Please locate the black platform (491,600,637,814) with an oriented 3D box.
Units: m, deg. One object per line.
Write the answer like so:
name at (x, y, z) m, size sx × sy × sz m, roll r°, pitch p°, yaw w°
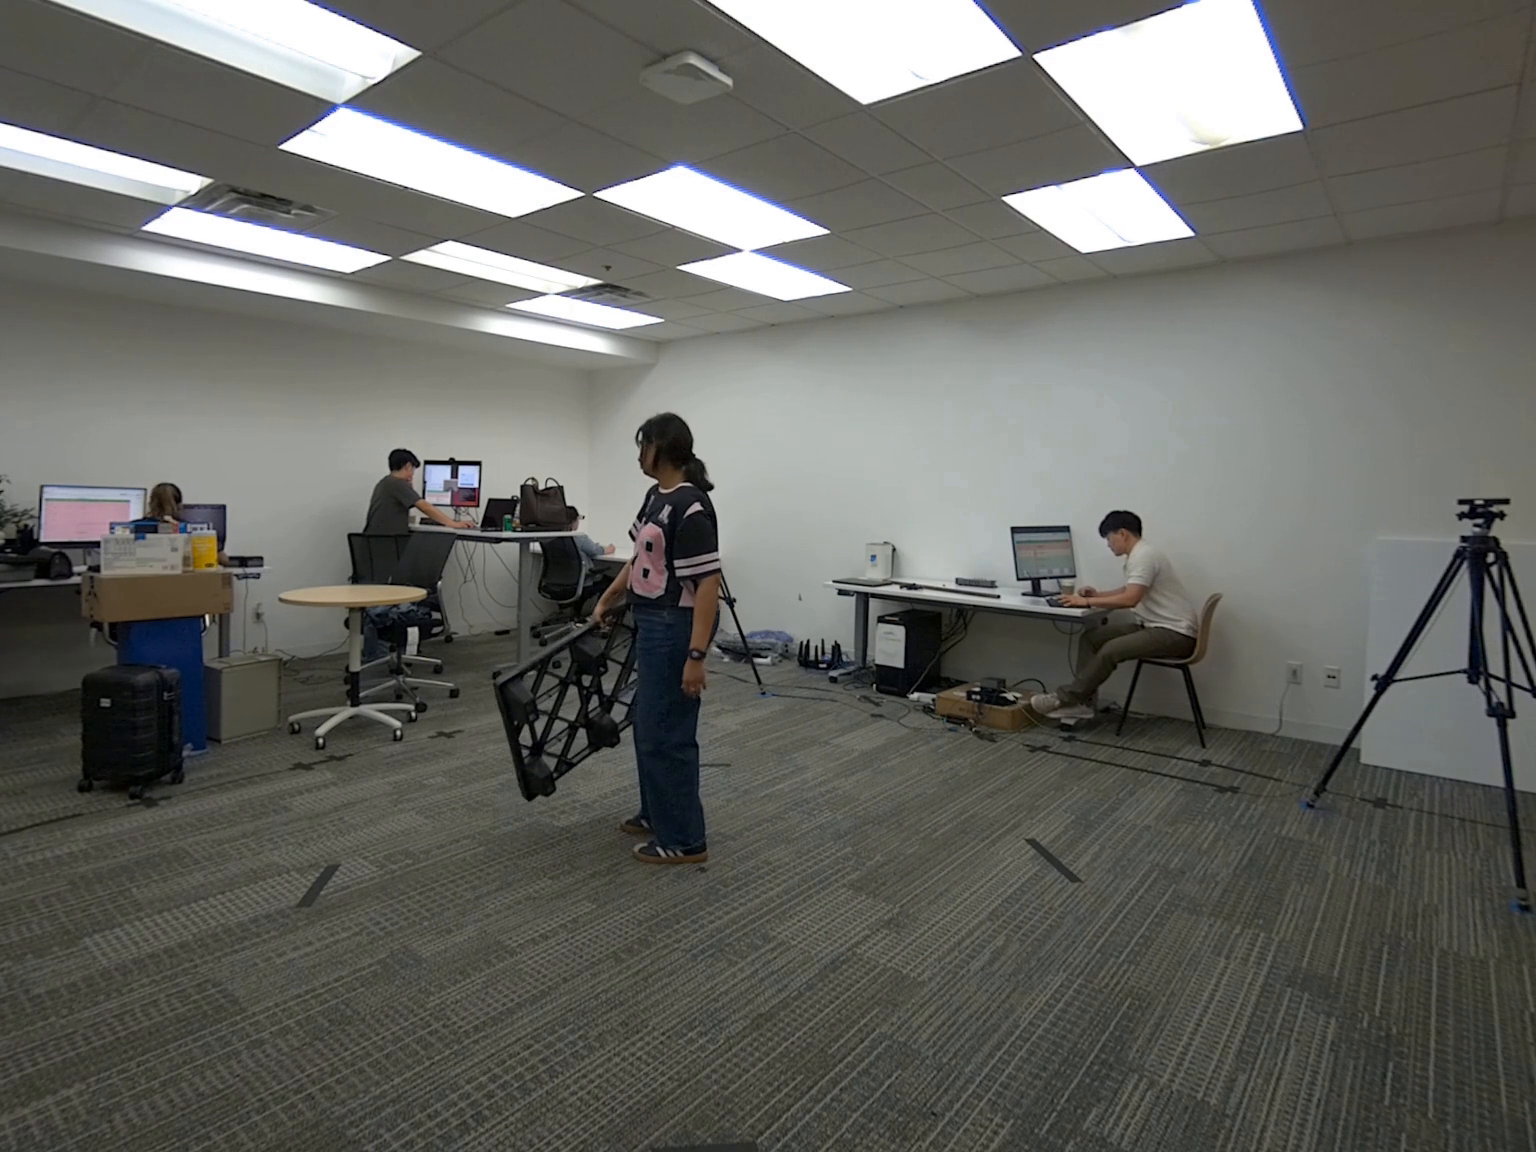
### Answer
black platform at (-0.700, 0.473, 3.453) m, size 0.149 × 0.589 × 0.797 m, roll 20°, pitch 39°, yaw 35°
